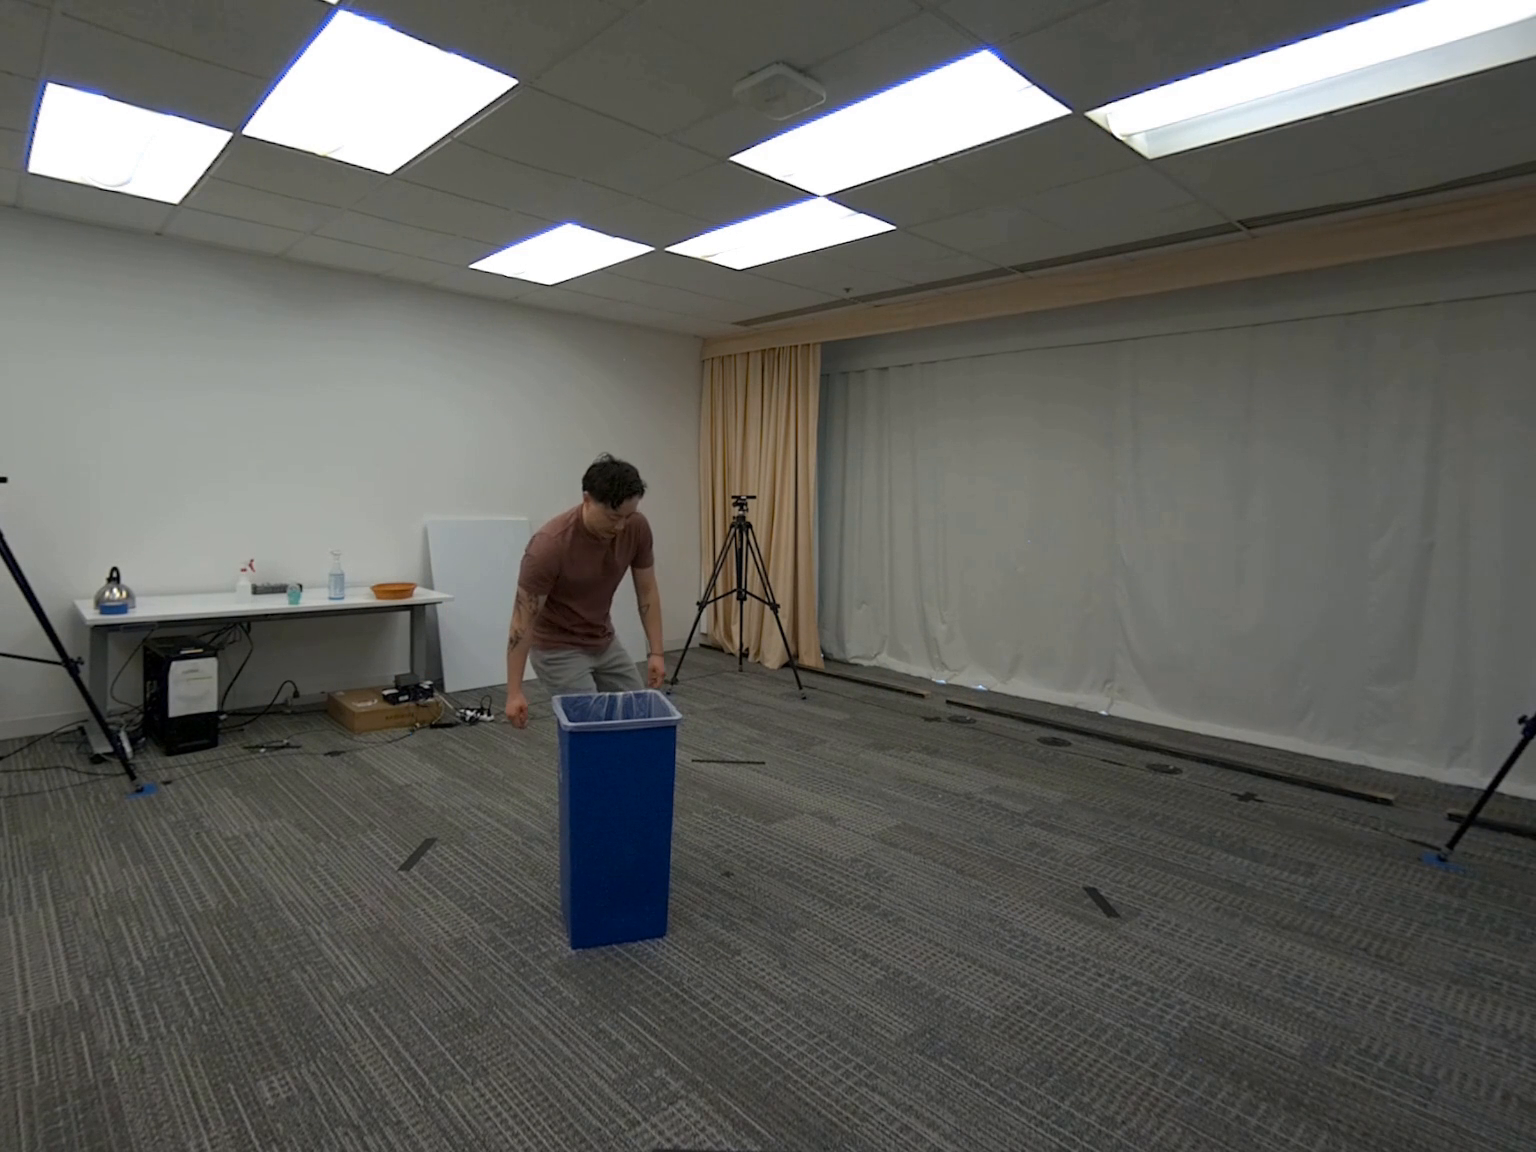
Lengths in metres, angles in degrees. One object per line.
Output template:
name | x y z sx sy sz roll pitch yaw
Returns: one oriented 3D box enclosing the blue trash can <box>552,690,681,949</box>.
blue trash can | -0.500 0.772 2.721 0.372 0.712 0.380 0 4 -20
